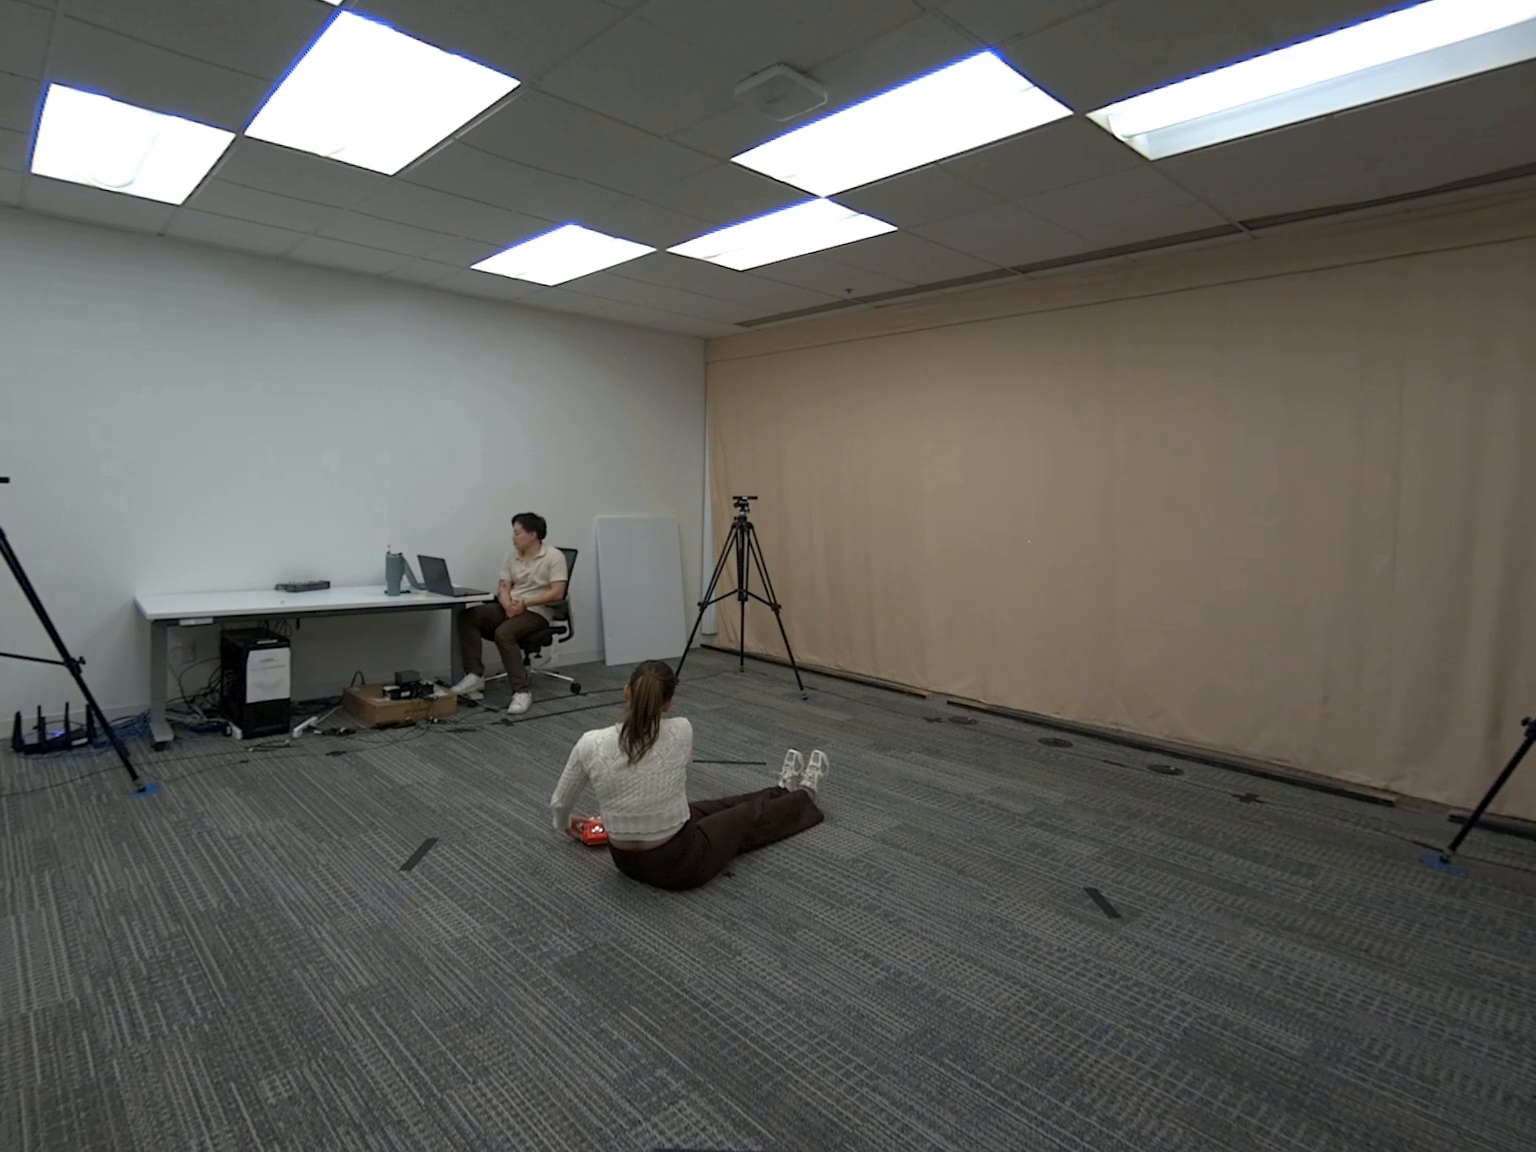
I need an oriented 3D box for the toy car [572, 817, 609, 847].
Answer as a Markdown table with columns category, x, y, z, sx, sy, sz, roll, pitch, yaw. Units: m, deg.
| category | x | y | z | sx | sy | sz | roll | pitch | yaw |
| --- | --- | --- | --- | --- | --- | --- | --- | --- | --- |
| toy car | -0.706 | 1.028 | 3.399 | 0.129 | 0.083 | 0.256 | -3 | -6 | -14 |
